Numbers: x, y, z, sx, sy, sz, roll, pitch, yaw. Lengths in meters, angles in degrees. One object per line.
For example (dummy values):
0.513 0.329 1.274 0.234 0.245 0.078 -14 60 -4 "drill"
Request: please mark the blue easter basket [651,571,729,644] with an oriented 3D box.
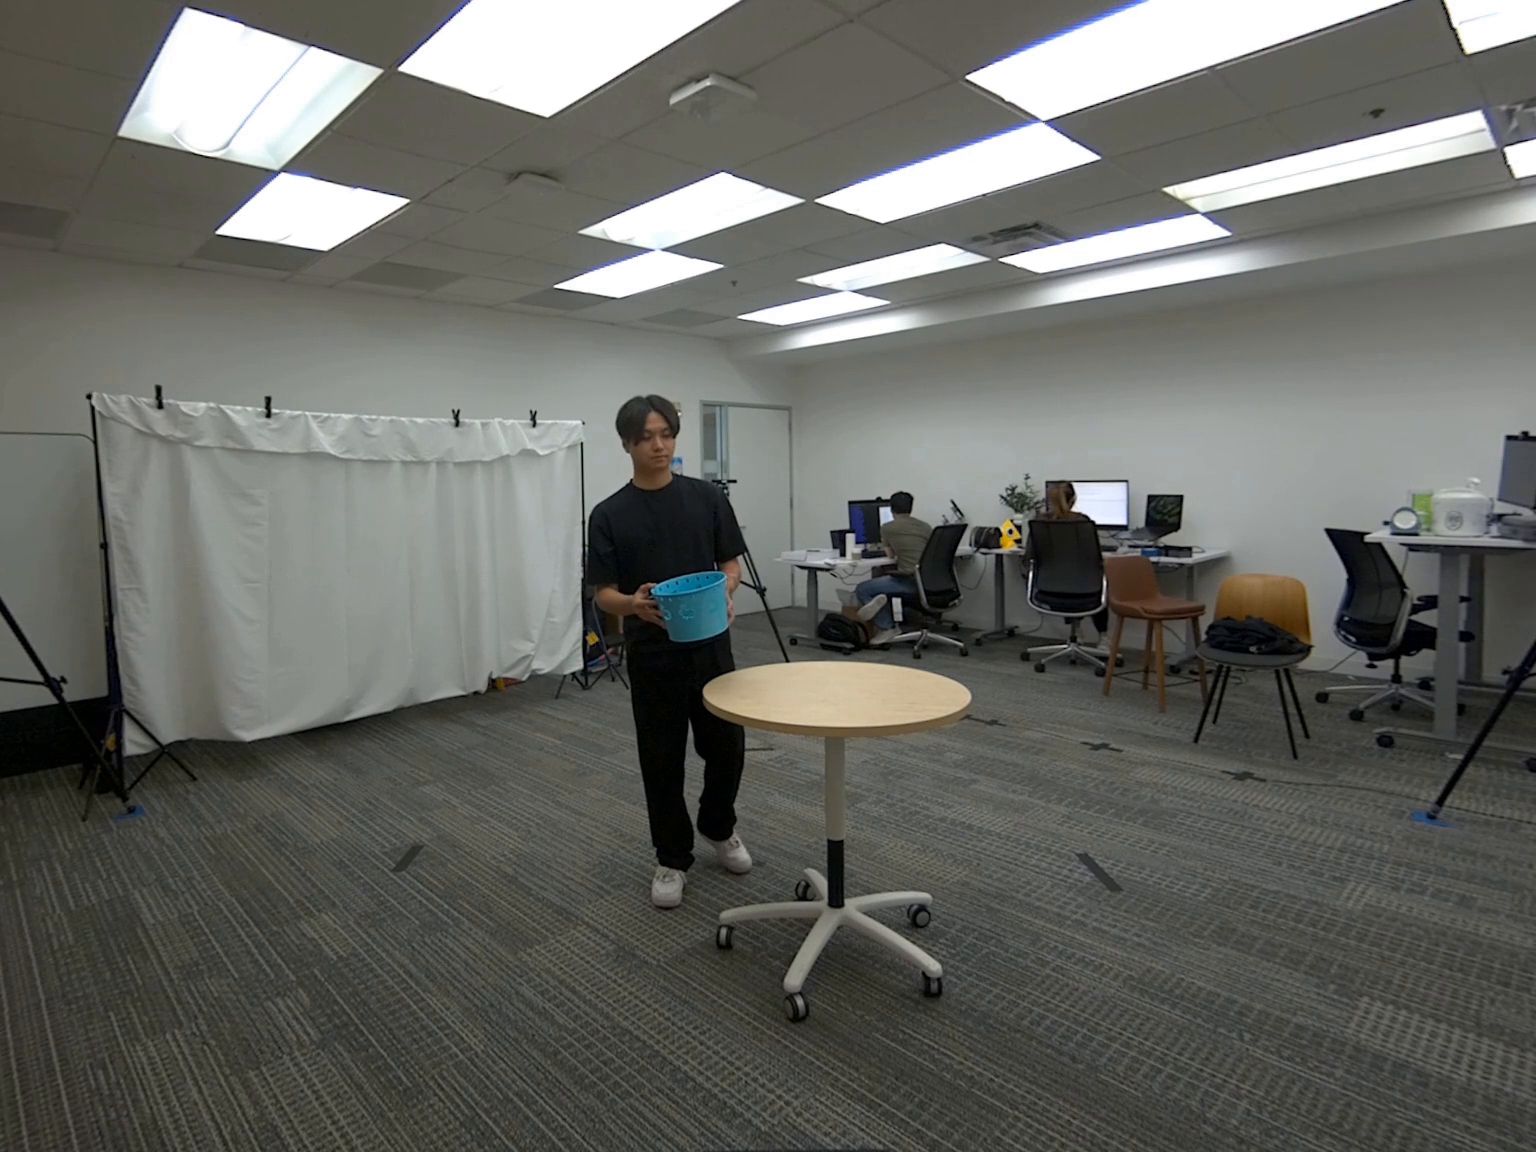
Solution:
-0.226 0.095 2.555 0.244 0.154 0.246 -11 12 0 "blue easter basket"
